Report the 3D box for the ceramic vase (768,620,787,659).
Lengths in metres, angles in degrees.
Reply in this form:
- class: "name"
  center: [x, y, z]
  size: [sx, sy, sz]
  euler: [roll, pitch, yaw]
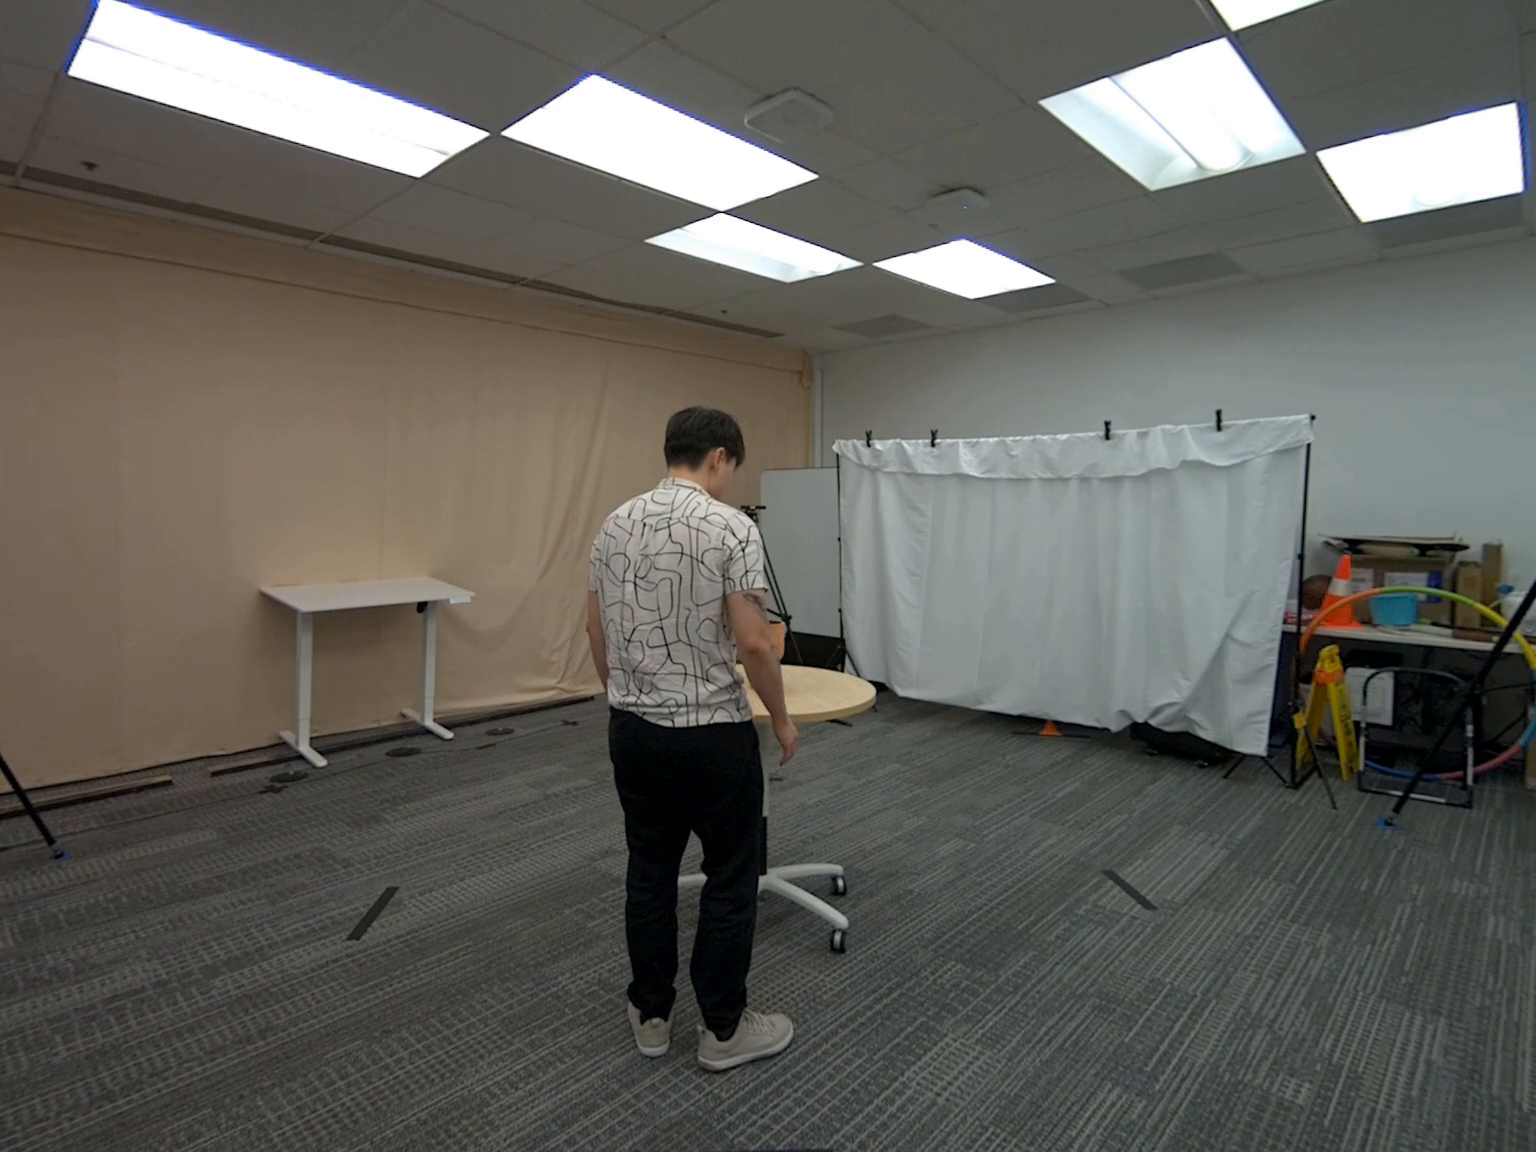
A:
- class: "ceramic vase"
  center: [-0.007, 0.267, 2.809]
  size: [0.139, 0.219, 0.154]
  euler: [5, 5, 40]
